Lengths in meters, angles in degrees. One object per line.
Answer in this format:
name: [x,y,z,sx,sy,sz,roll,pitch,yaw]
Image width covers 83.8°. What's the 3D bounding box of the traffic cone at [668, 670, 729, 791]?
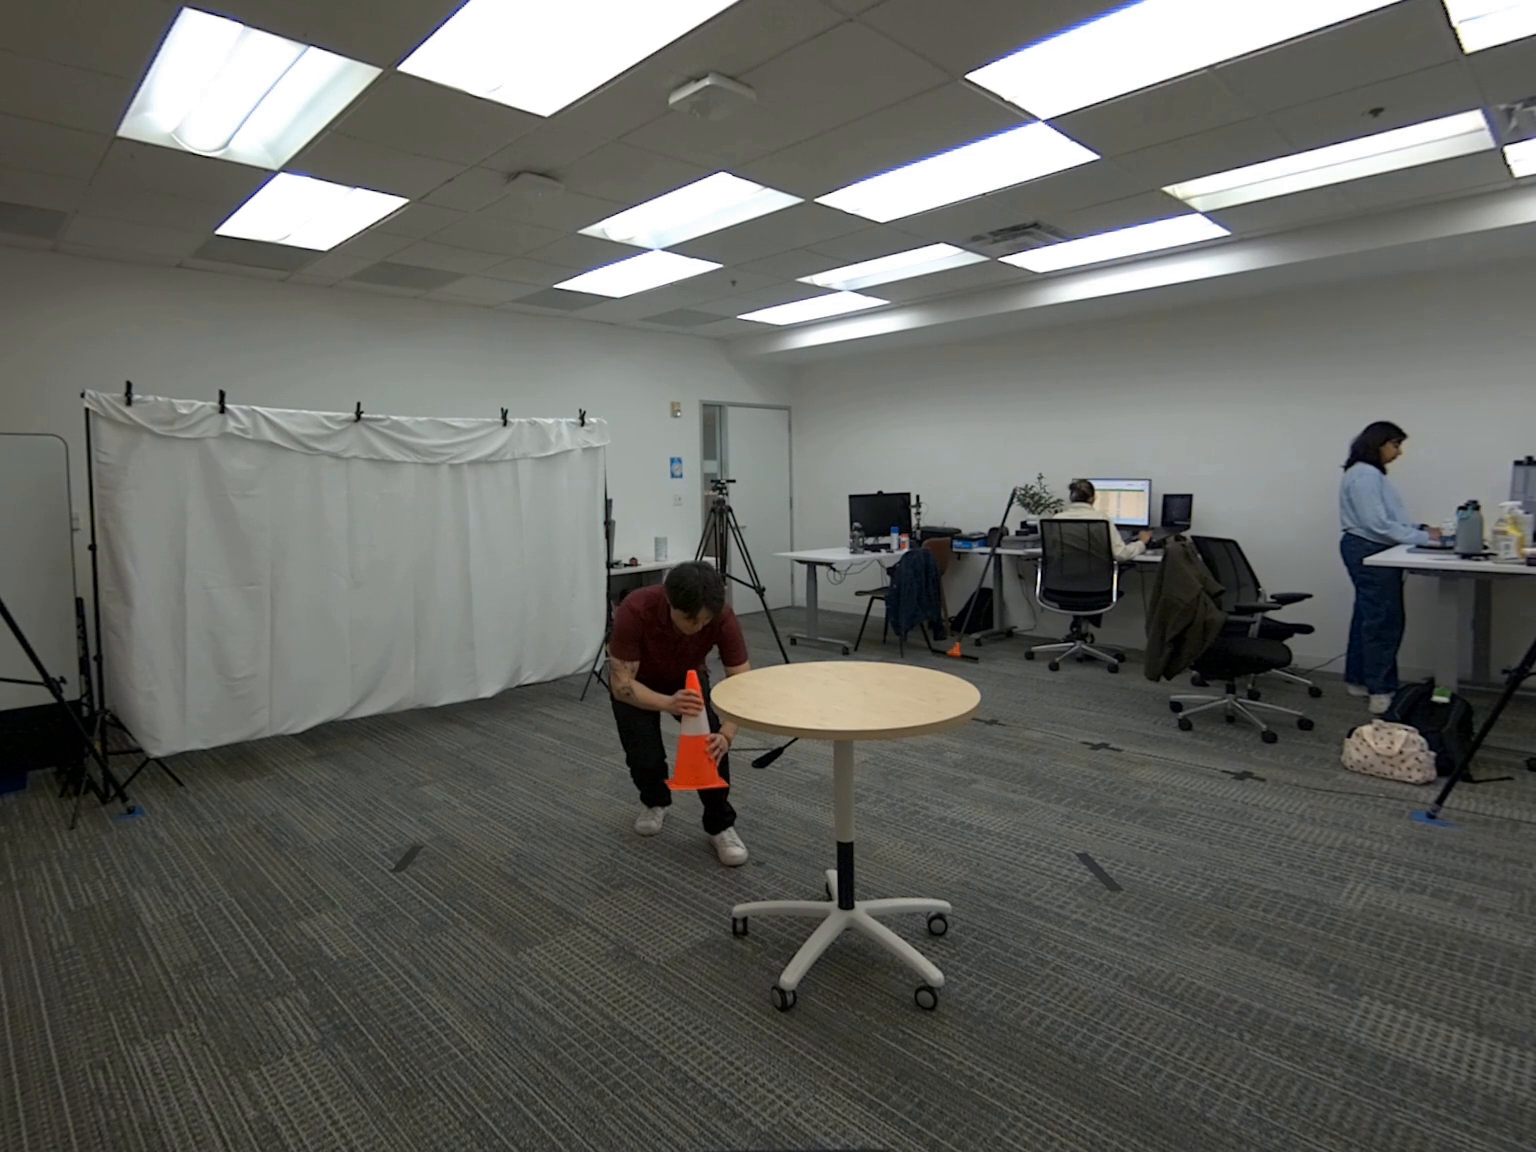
traffic cone: [-0.256,0.527,2.943,0.202,0.385,0.205,-1,-4,-13]
